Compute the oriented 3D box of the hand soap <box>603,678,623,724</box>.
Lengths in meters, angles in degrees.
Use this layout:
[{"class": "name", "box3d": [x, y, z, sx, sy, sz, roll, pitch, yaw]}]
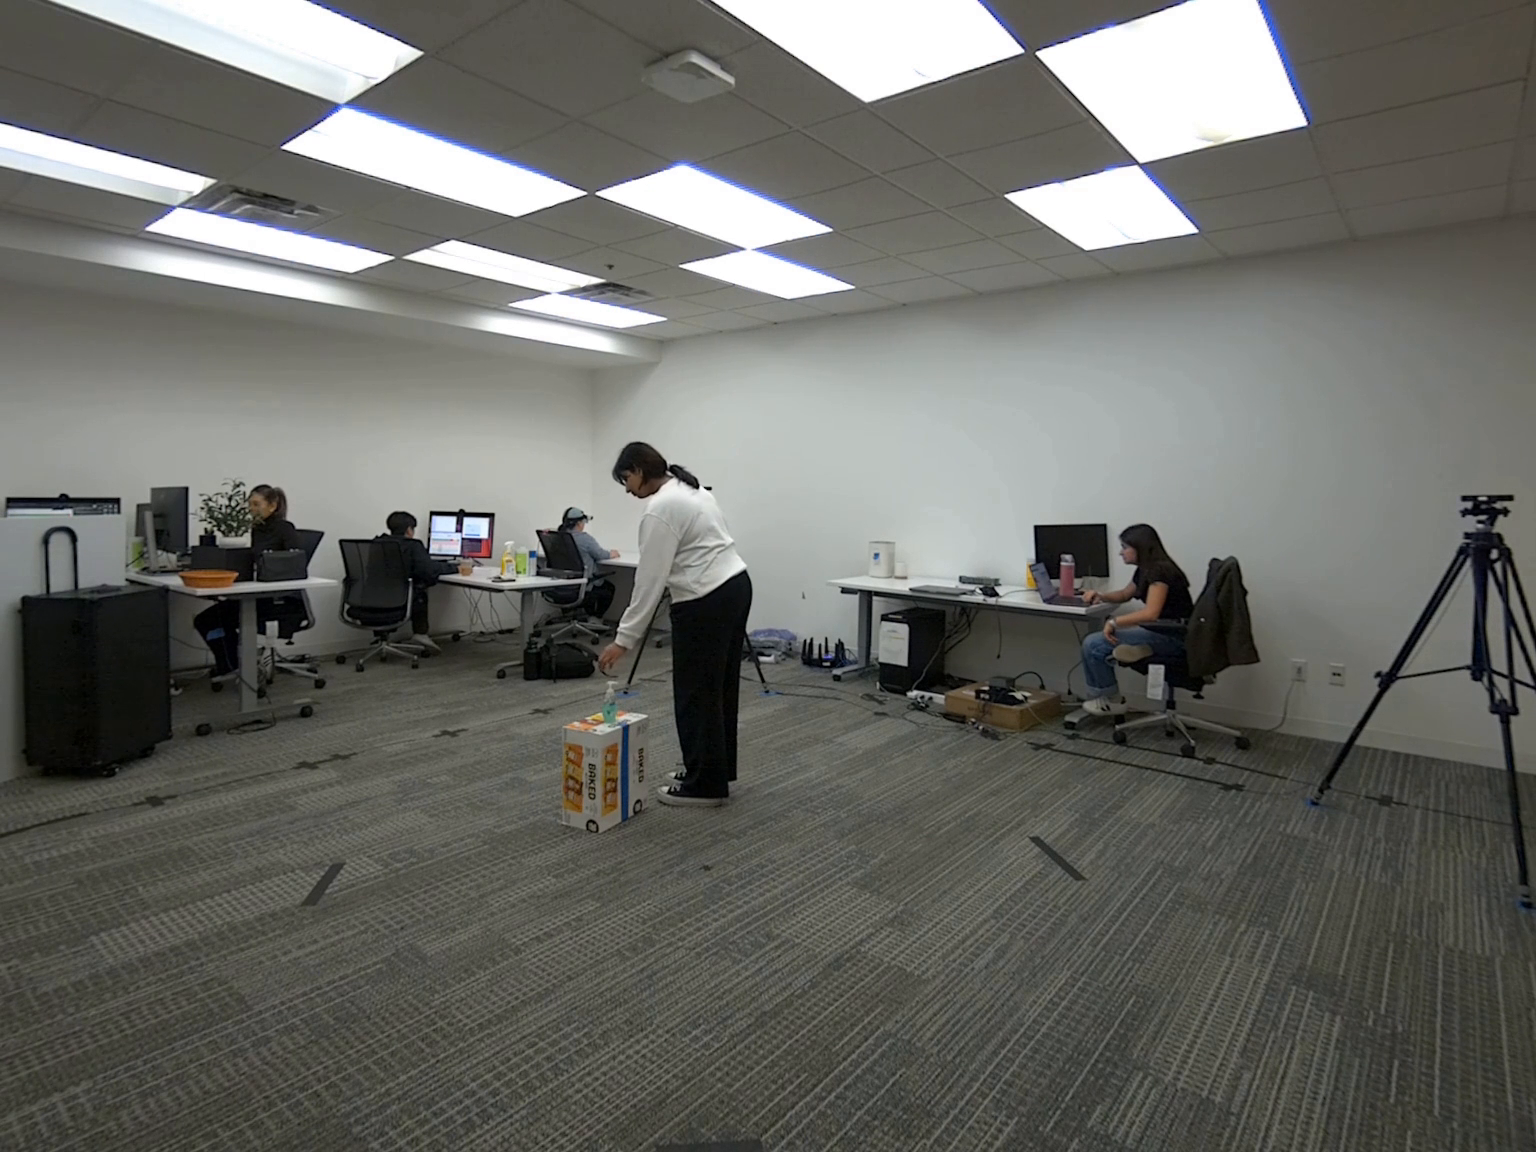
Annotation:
[{"class": "hand soap", "box3d": [-0.658, 0.526, 3.564, 0.044, 0.168, 0.083, 0, 3, 19]}]
